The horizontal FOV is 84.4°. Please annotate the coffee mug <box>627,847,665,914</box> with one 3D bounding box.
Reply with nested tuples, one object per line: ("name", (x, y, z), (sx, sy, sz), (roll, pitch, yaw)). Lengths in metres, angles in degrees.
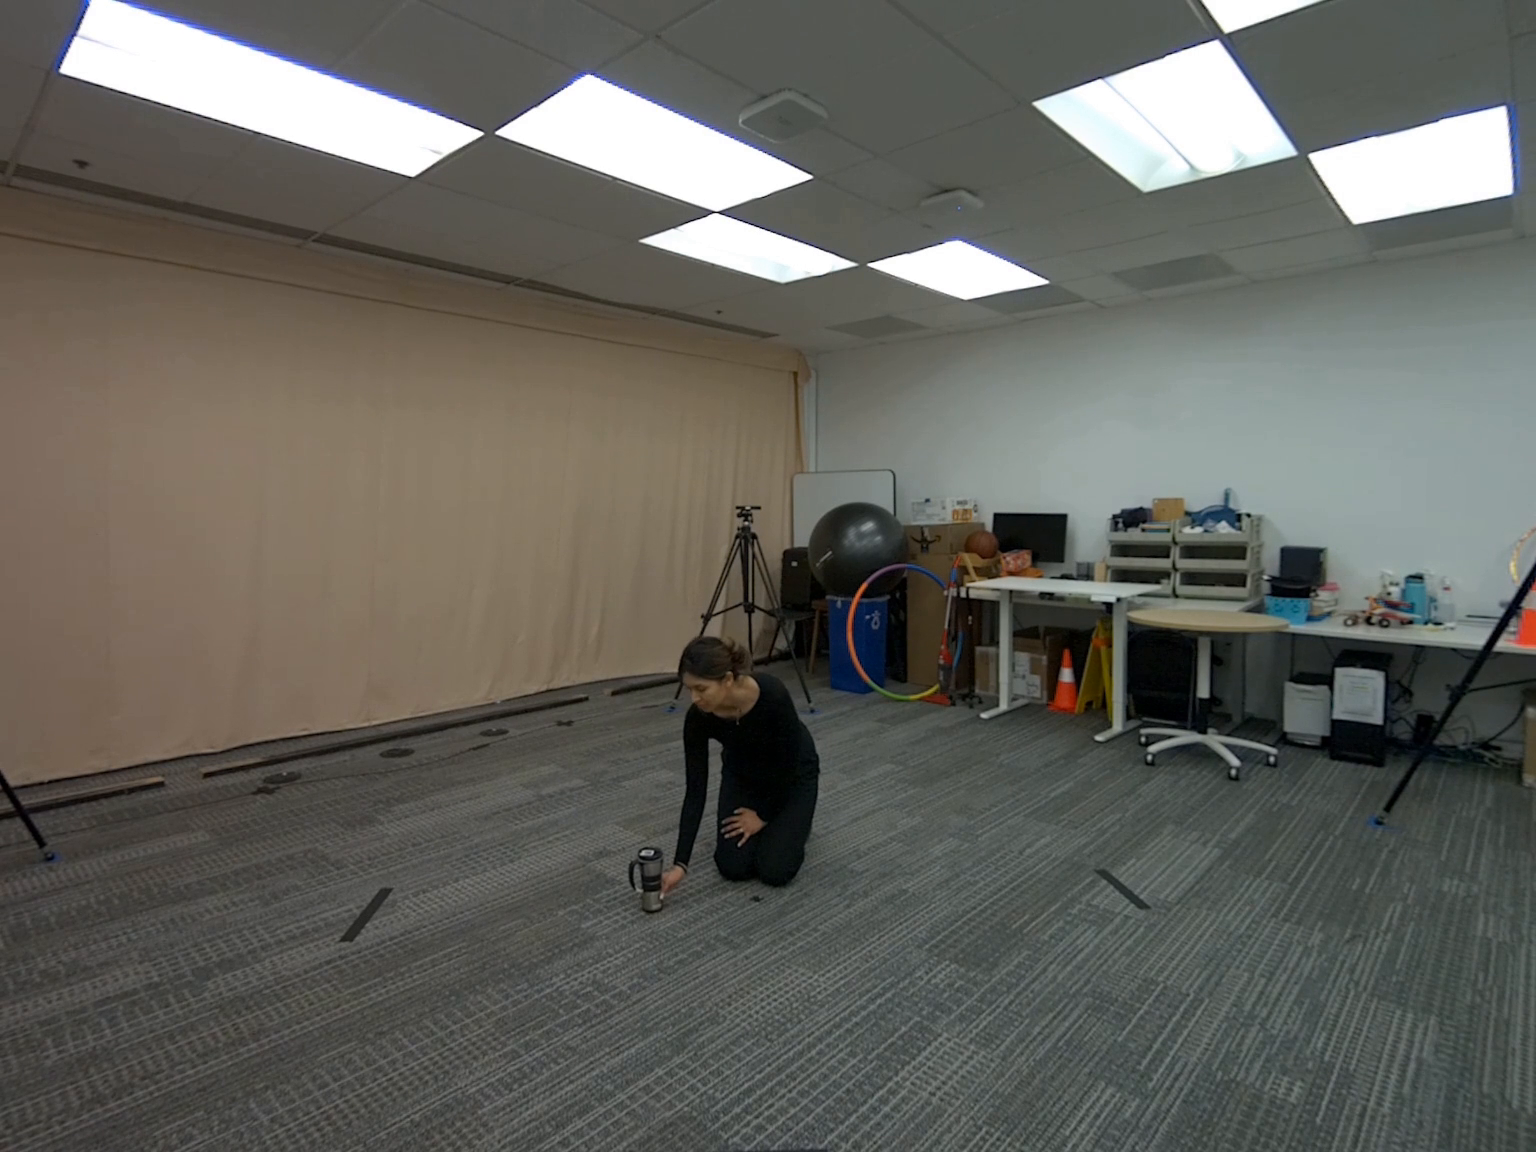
("coffee mug", (-0.432, 1.055, 2.904), (0.121, 0.202, 0.088), (0, 4, -4))
